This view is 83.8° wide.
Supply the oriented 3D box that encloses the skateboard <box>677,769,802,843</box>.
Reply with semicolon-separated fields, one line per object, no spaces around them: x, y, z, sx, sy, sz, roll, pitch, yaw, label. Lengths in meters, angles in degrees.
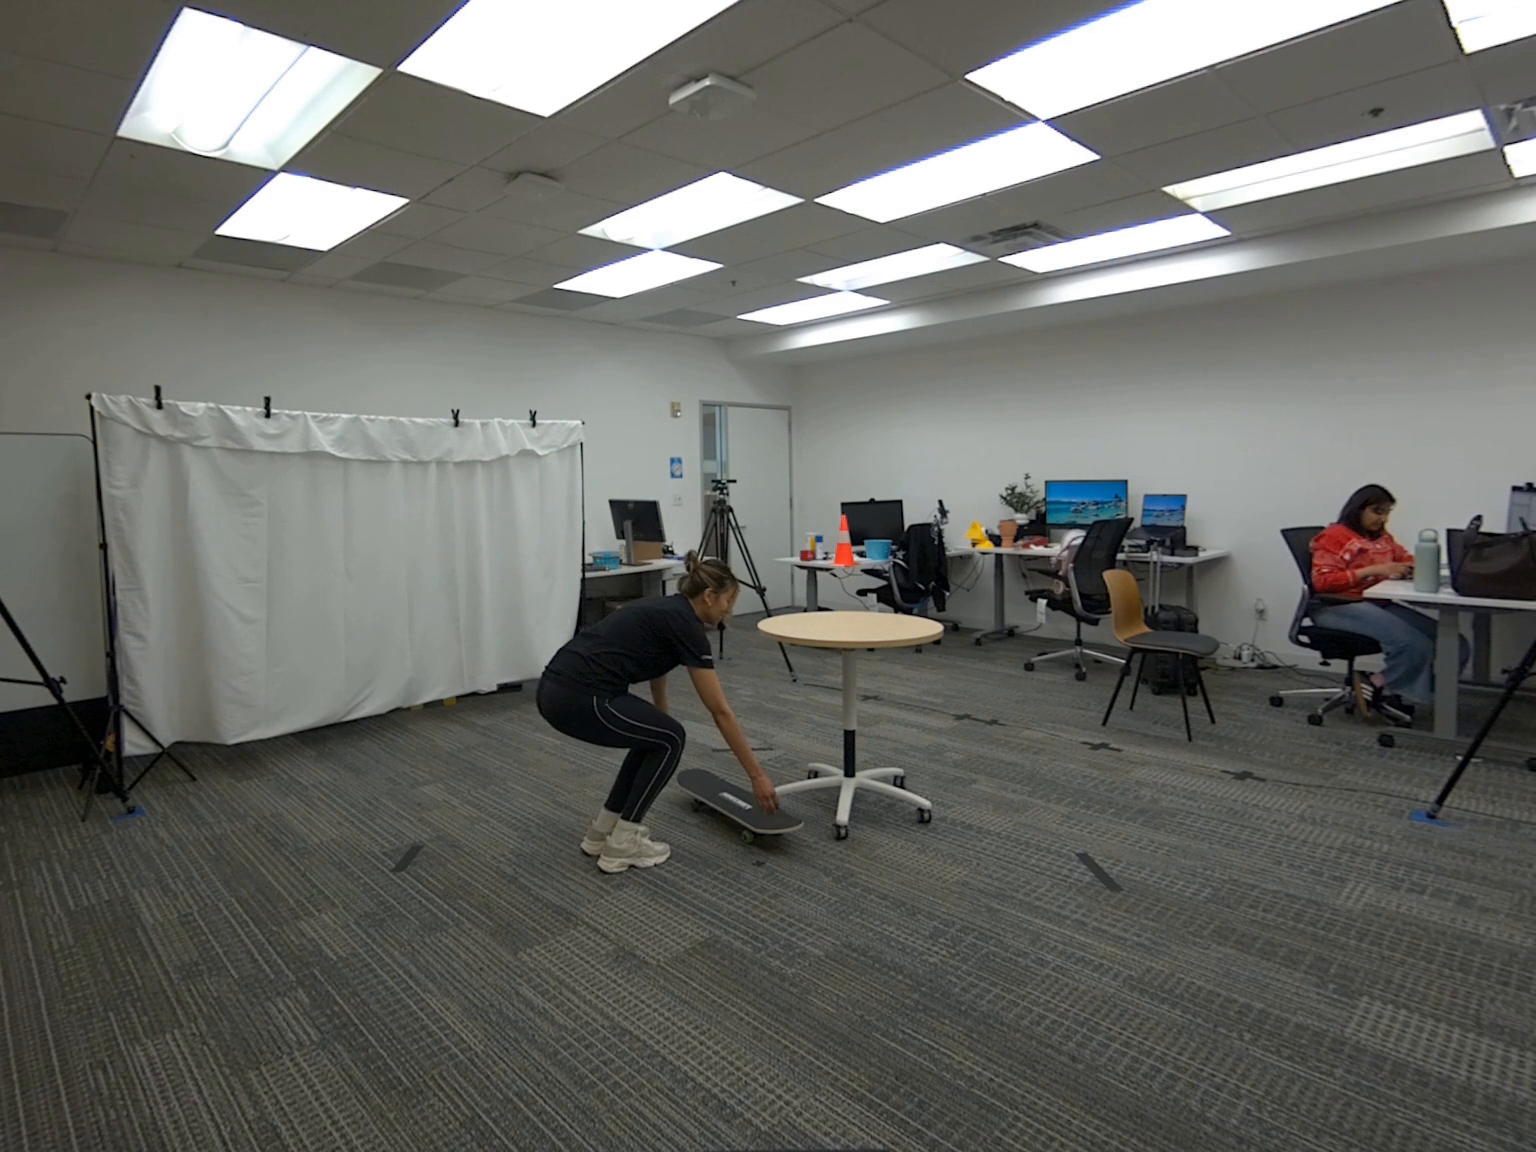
-0.127;0.950;3.488;0.189;0.110;0.808;-6;8;-34;skateboard
